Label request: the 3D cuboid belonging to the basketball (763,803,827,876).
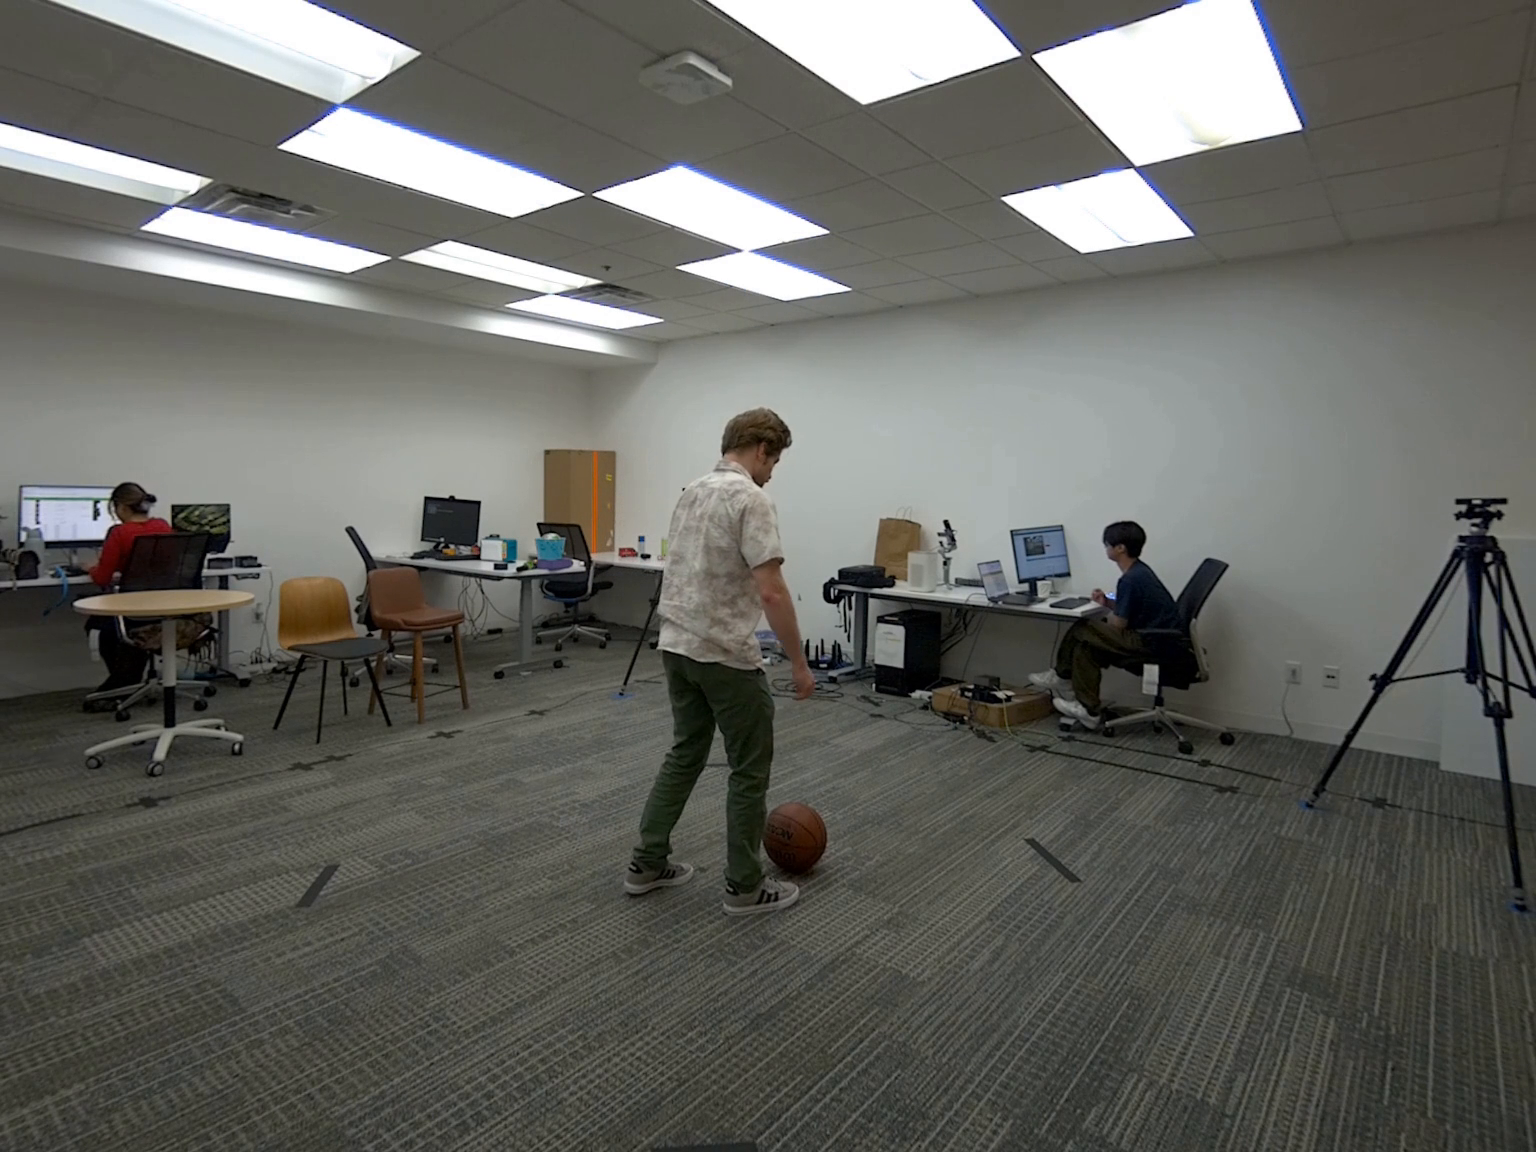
[{"bbox_3d":[0.090,0.952,3.131,0.235,0.235,0.237,1,4,-2],"label":"basketball"}]
